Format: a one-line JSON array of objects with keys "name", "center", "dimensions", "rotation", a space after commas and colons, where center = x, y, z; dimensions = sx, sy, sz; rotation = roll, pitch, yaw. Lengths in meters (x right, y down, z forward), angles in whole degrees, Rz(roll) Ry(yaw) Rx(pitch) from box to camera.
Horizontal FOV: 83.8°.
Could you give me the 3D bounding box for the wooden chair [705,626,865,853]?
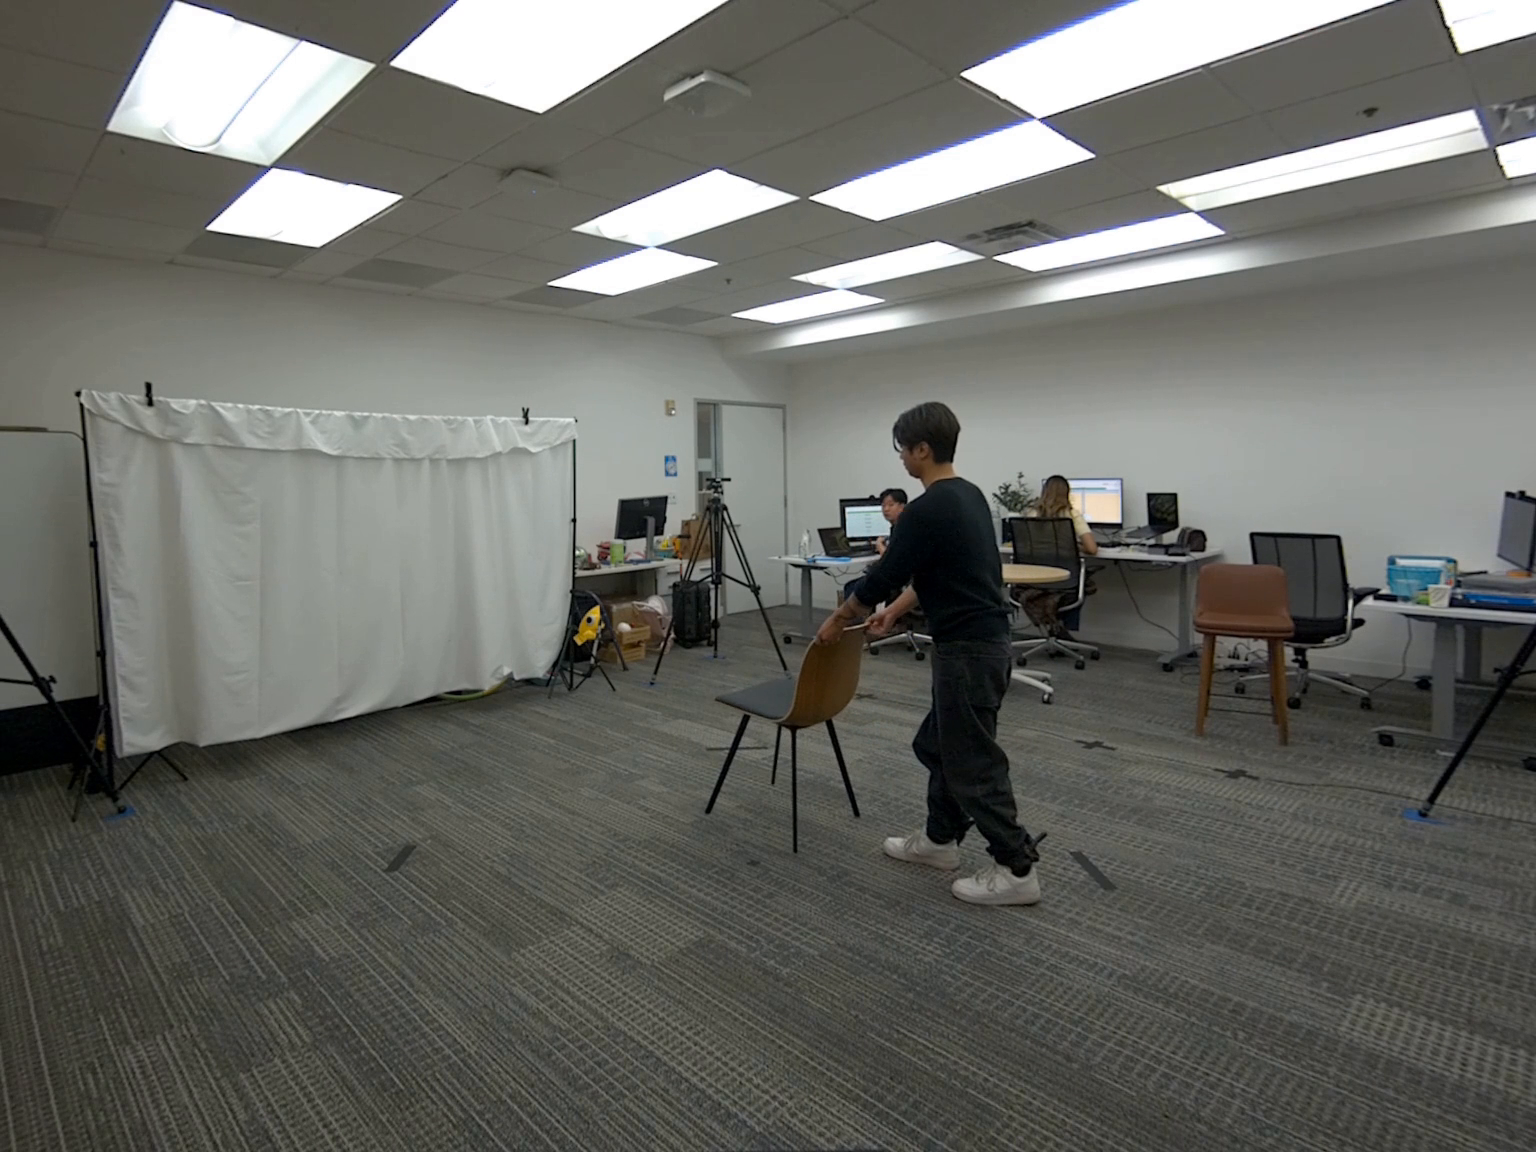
[{"name": "wooden chair", "center": [0.083, 0.557, 3.436], "dimensions": [0.541, 0.870, 0.466], "rotation": [15, 14, 38]}]
